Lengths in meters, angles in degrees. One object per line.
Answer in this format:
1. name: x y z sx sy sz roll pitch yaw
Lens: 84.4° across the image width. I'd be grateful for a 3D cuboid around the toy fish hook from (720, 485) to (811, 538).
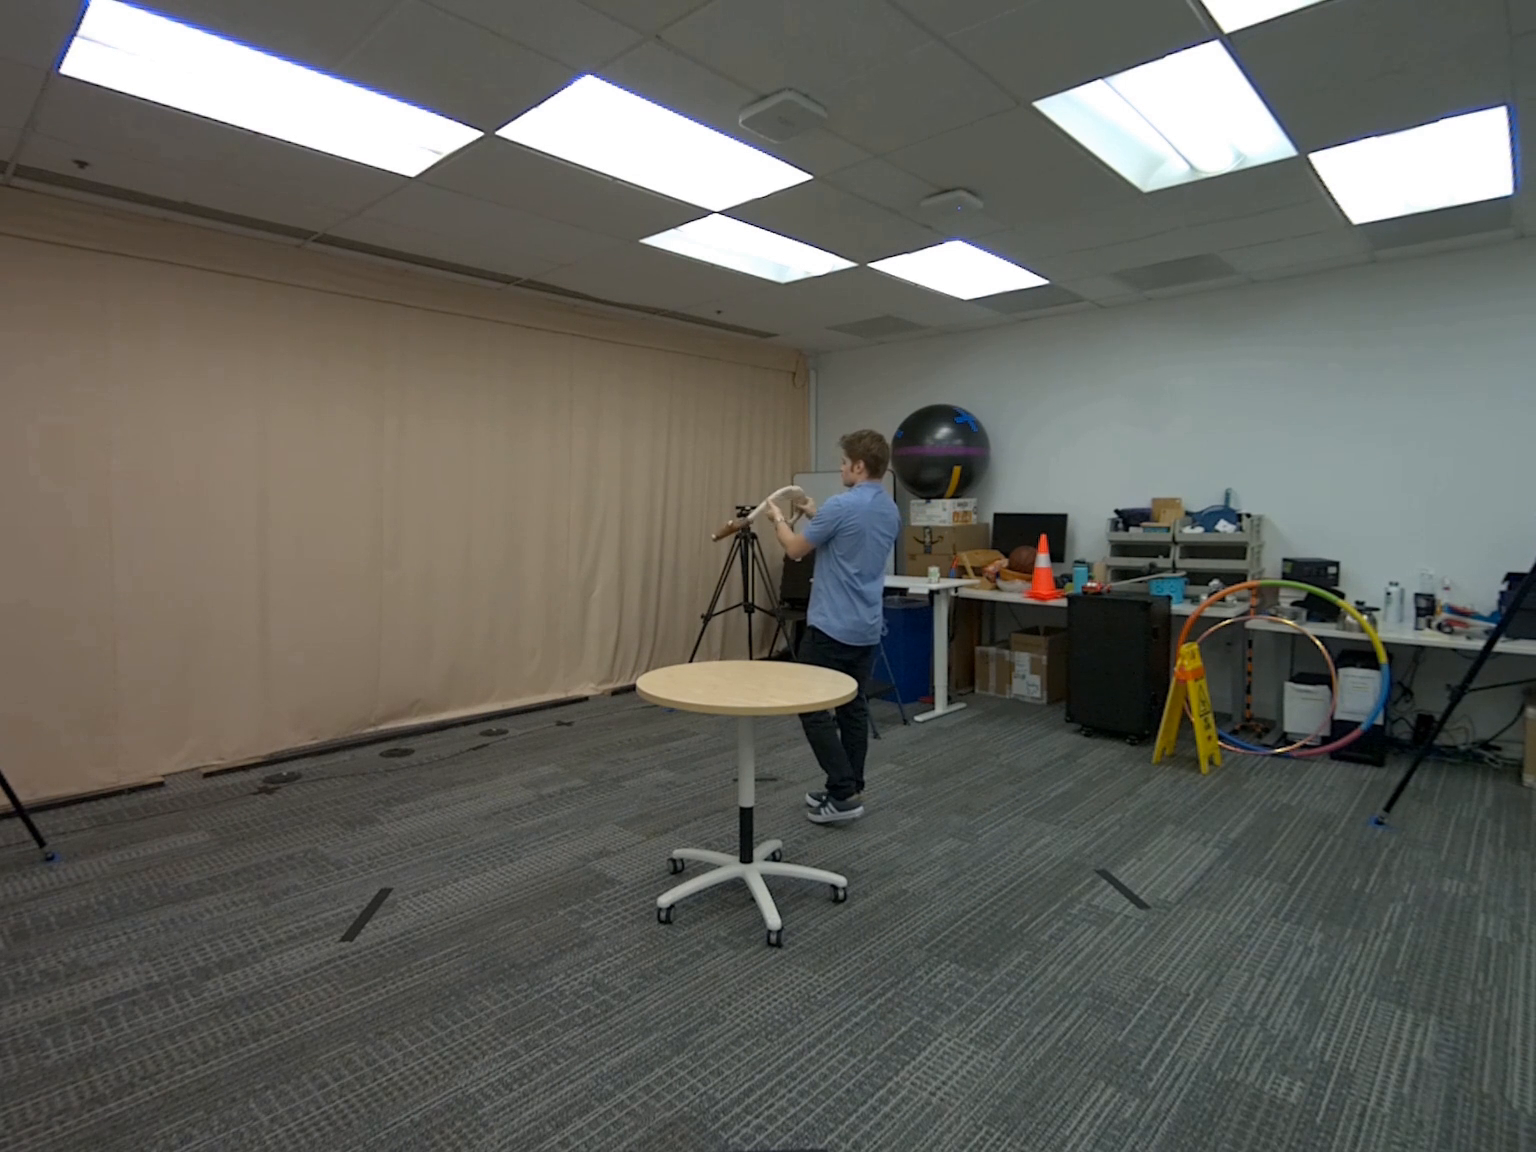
1. toy fish hook: -0.031 -0.254 4.083 0.504 0.219 0.050 -29 31 -7
